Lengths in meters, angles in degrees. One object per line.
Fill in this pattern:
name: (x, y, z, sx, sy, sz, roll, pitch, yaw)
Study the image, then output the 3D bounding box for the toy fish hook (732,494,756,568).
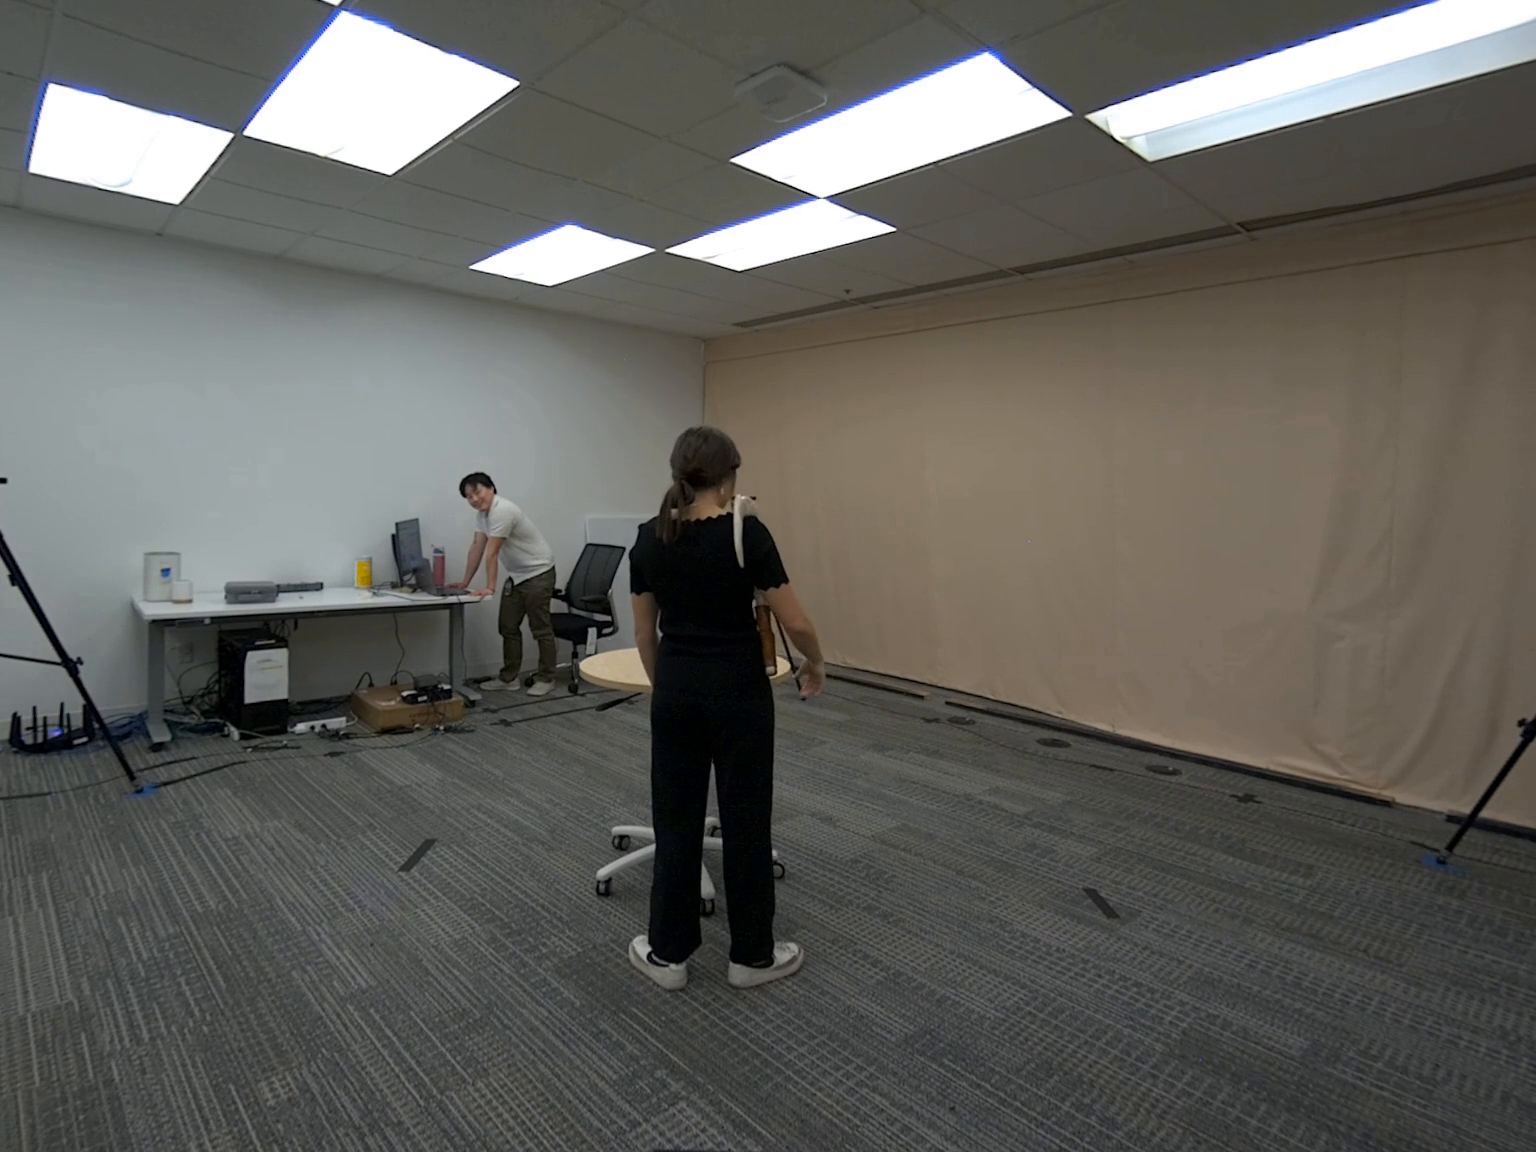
toy fish hook: (-0.044, 0.031, 2.309, 0.049, 0.507, 0.221, -8, 0, 19)
